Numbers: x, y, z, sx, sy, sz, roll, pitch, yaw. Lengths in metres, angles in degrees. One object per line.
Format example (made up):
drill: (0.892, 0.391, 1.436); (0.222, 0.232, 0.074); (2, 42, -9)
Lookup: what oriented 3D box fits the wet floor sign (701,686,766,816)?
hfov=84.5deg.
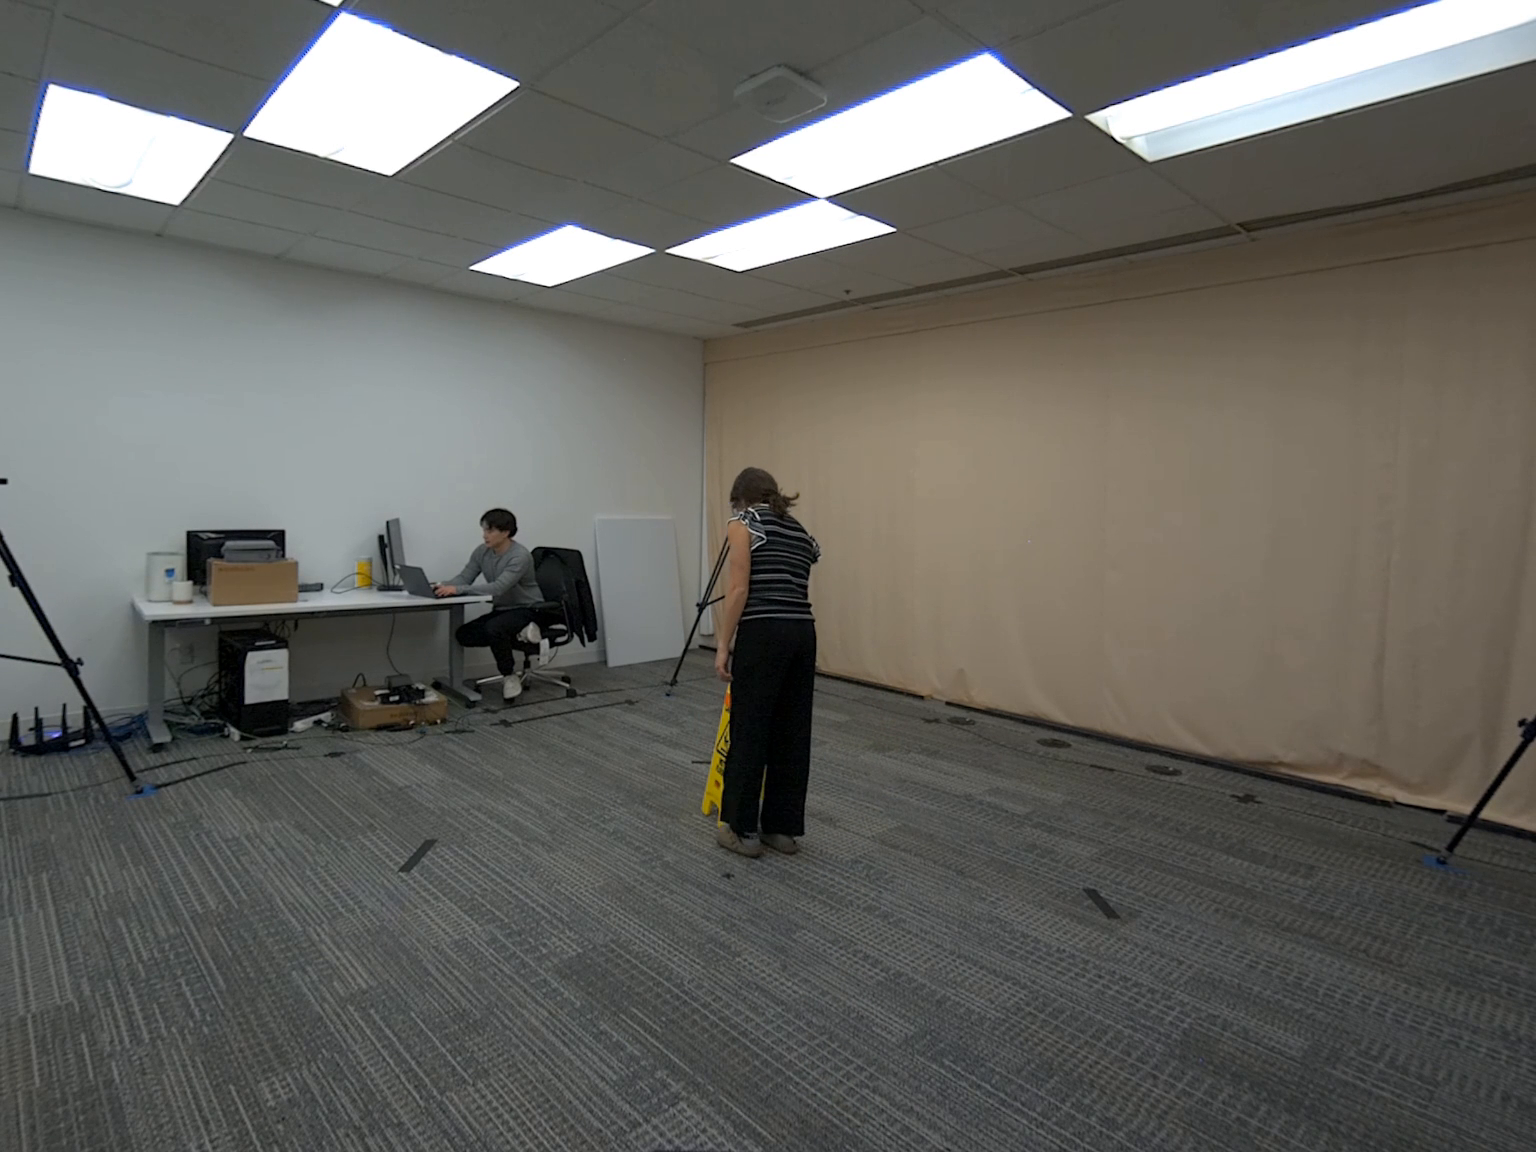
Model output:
wet floor sign: (-0.127, 0.735, 3.668); (0.285, 0.645, 0.287); (1, 3, -21)
